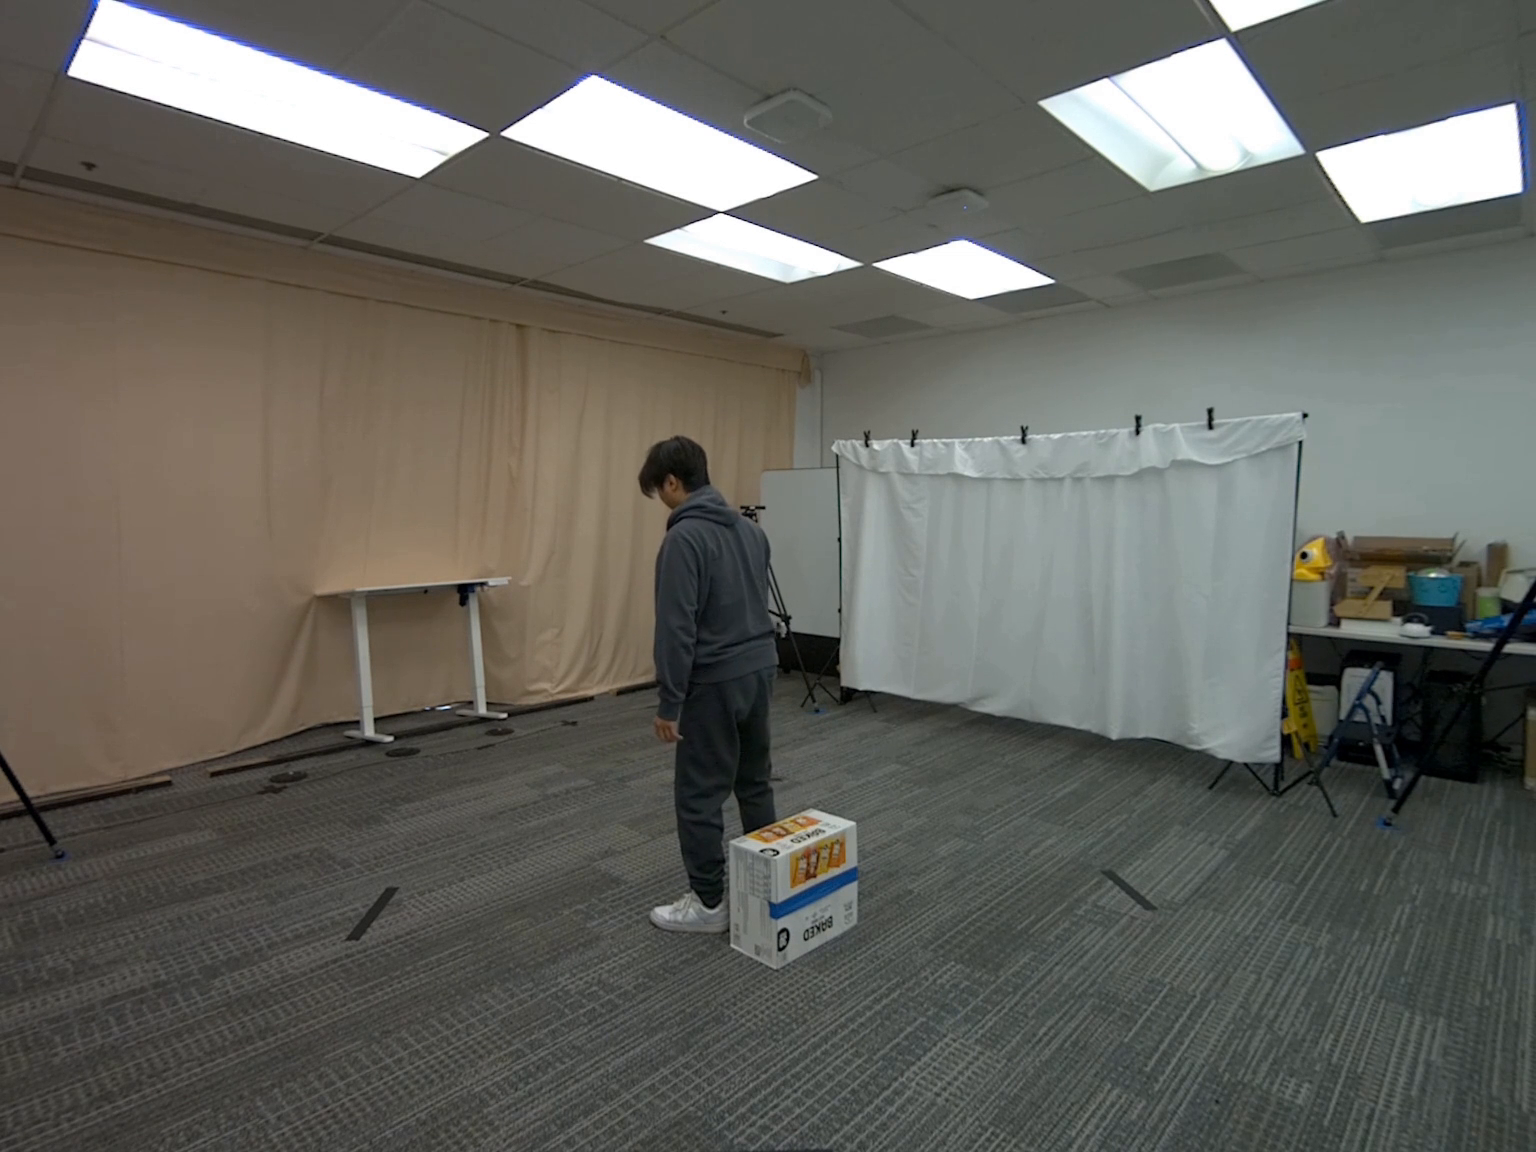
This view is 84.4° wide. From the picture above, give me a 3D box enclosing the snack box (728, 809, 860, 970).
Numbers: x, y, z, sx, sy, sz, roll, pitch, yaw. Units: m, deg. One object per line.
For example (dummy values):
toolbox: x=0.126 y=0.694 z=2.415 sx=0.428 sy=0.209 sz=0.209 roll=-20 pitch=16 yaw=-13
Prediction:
snack box: x=0.088 y=0.995 z=2.727 sx=0.212 sy=0.340 sz=0.393 roll=1 pitch=4 yaw=44
